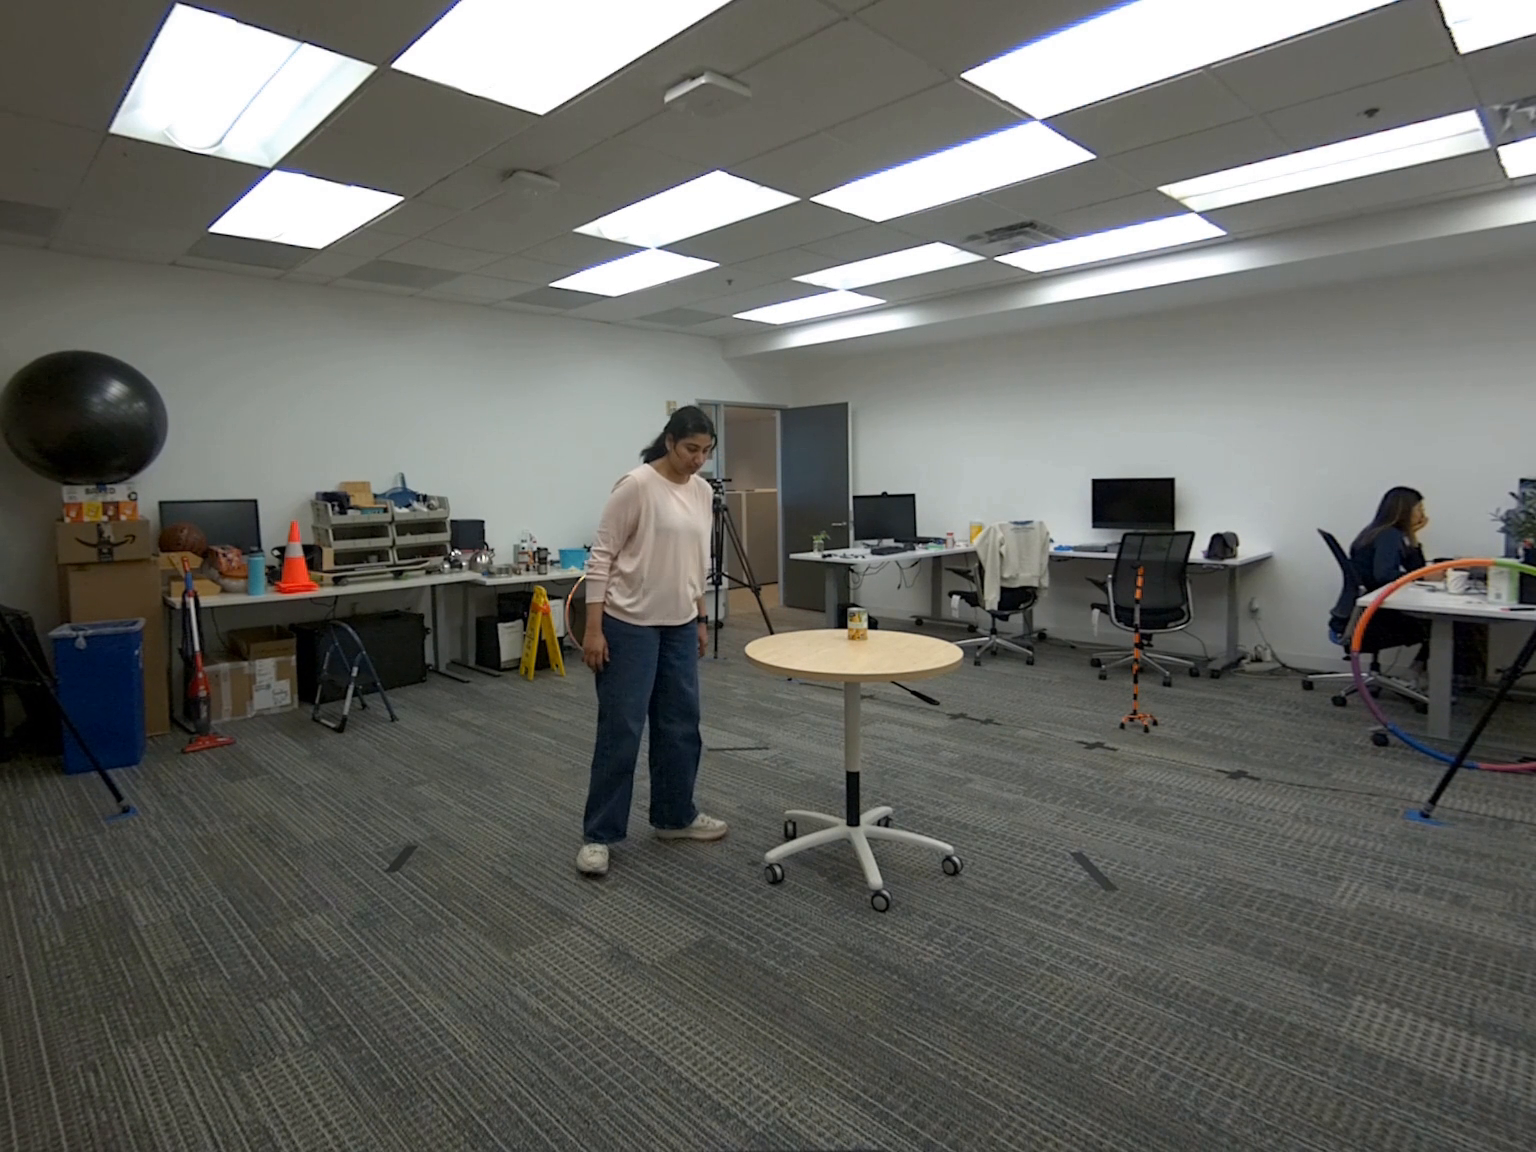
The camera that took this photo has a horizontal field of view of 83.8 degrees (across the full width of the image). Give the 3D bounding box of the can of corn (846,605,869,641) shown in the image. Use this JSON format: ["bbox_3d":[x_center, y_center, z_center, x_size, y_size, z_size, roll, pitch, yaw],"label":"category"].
[{"bbox_3d":[0.334,0.182,3.233,0.074,0.110,0.074,0,5,-2],"label":"can of corn"}]
